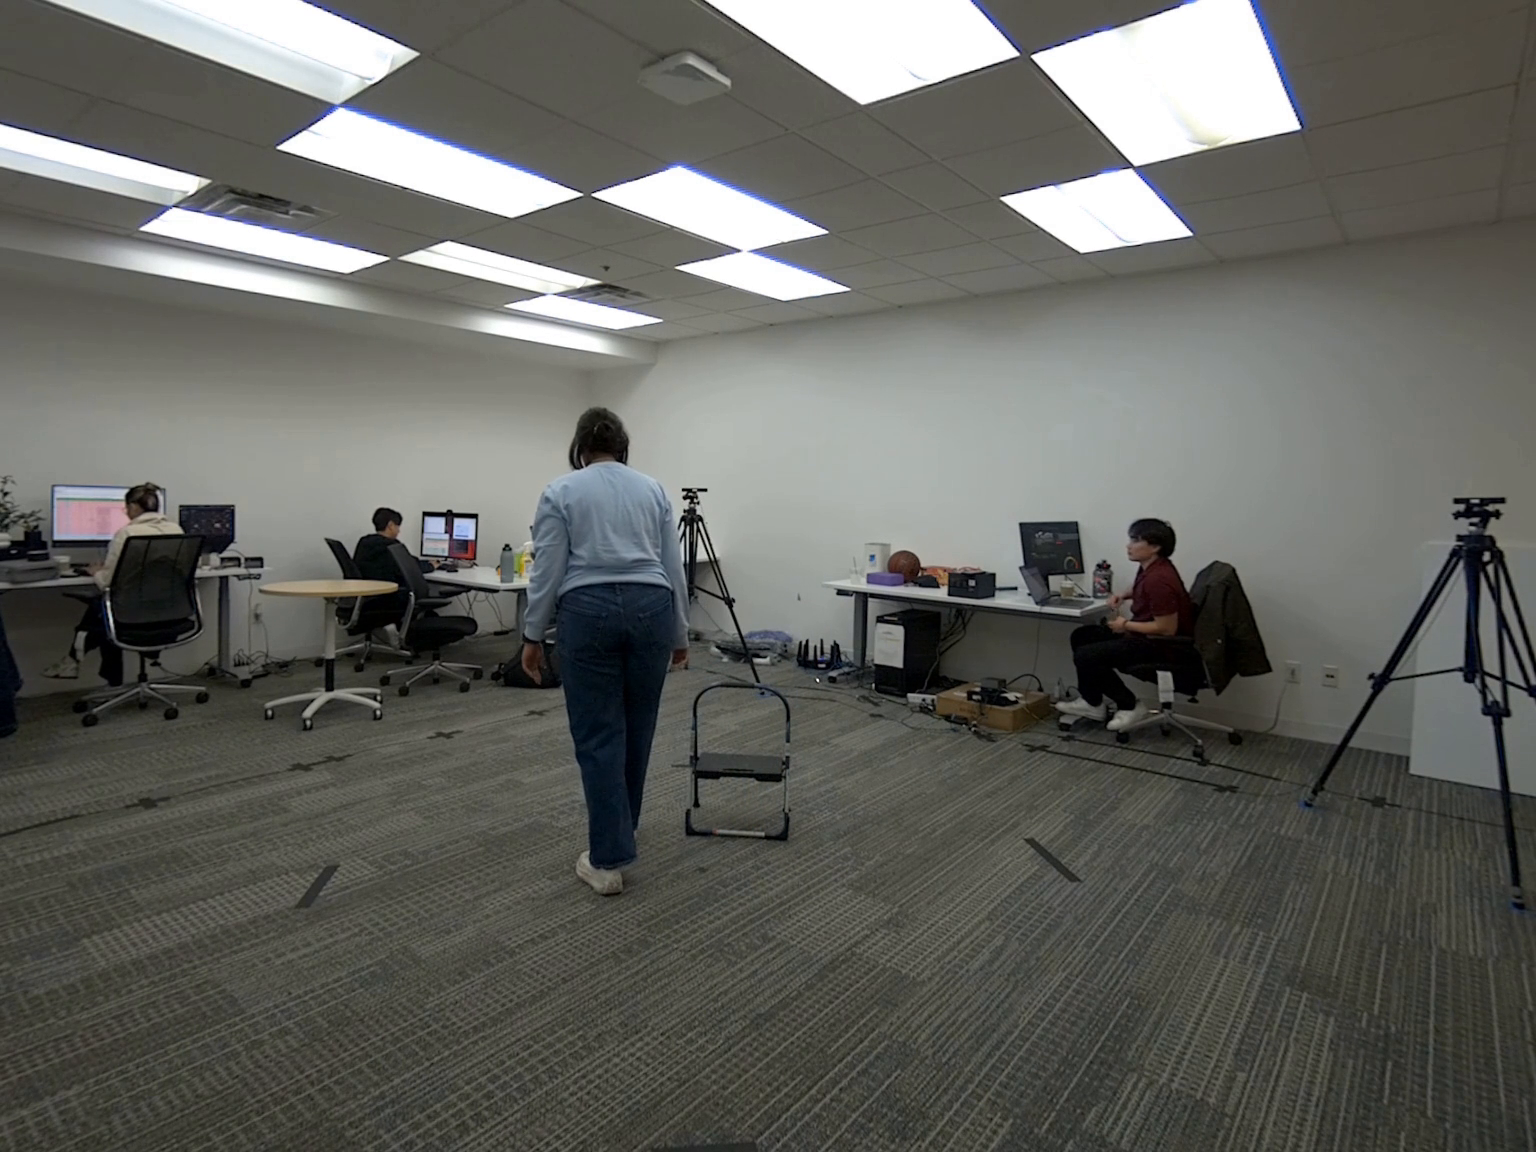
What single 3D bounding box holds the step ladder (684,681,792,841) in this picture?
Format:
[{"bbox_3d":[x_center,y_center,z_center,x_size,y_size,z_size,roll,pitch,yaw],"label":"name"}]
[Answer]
[{"bbox_3d":[-0.126,0.730,3.557,0.432,0.605,0.349,1,2,3],"label":"step ladder"}]
